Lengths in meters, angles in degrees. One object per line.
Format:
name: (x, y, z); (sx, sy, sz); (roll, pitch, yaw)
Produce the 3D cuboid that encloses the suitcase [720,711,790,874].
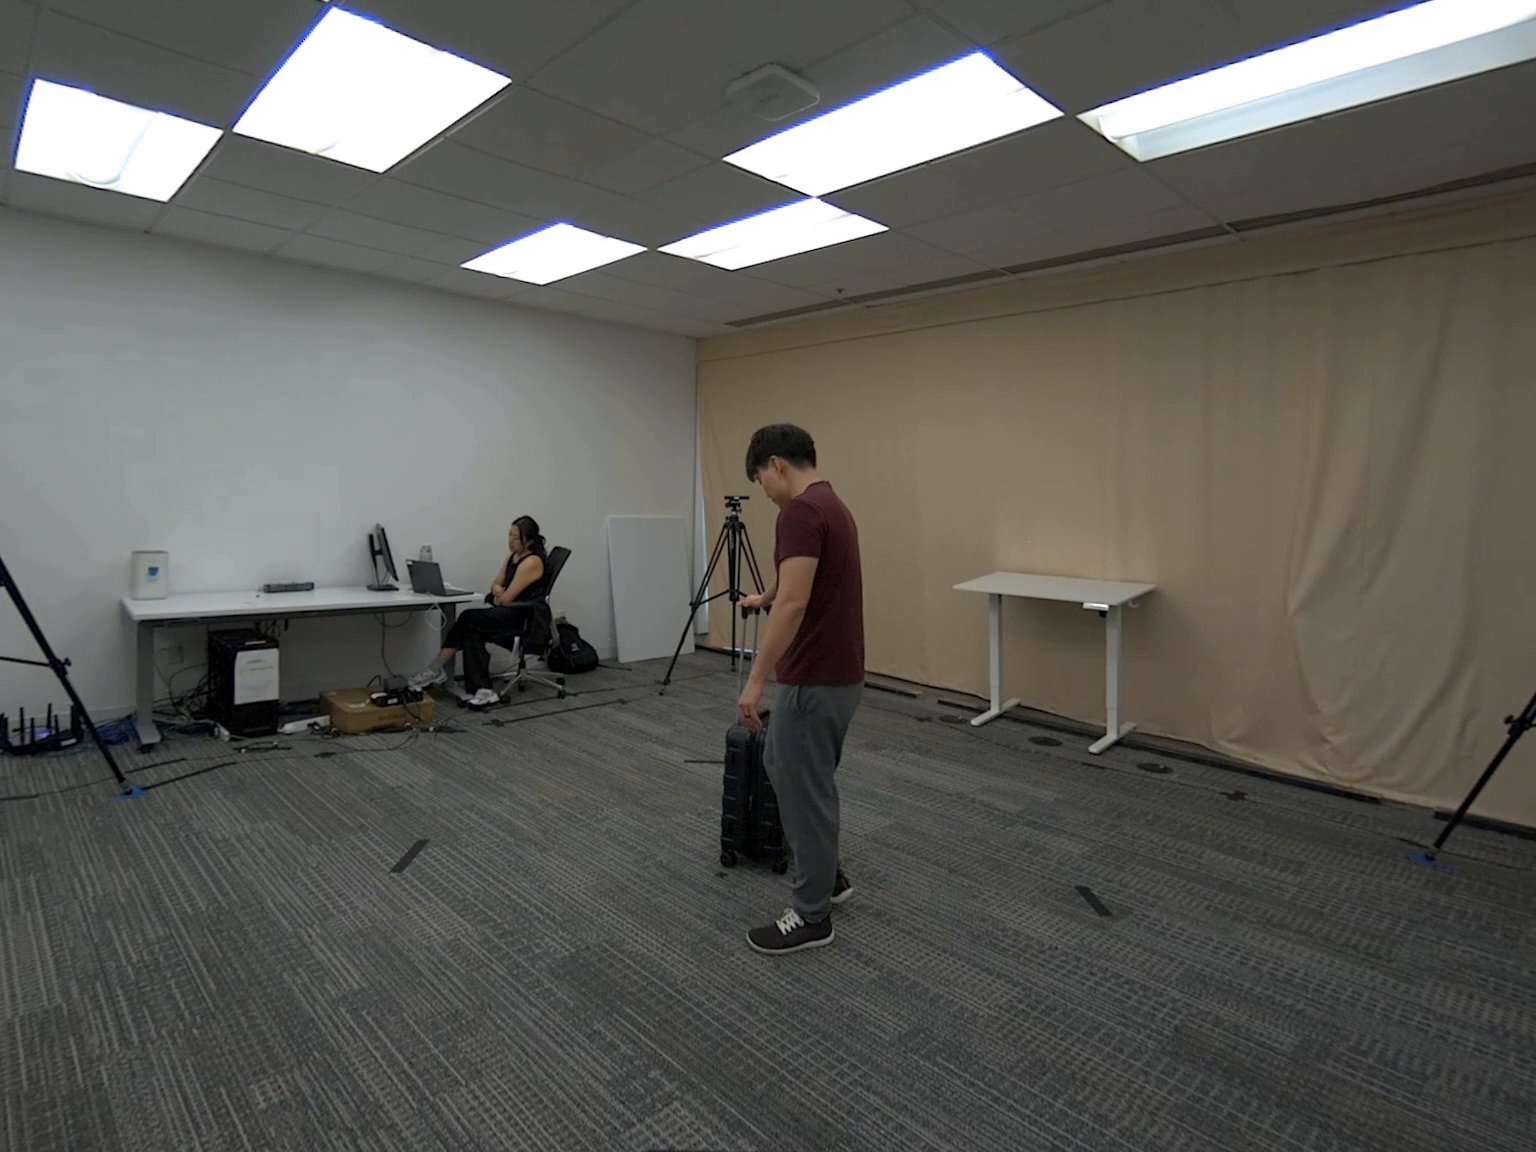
suitcase: (-0.003, 0.619, 3.269); (0.261, 0.976, 0.379); (5, 4, 17)
